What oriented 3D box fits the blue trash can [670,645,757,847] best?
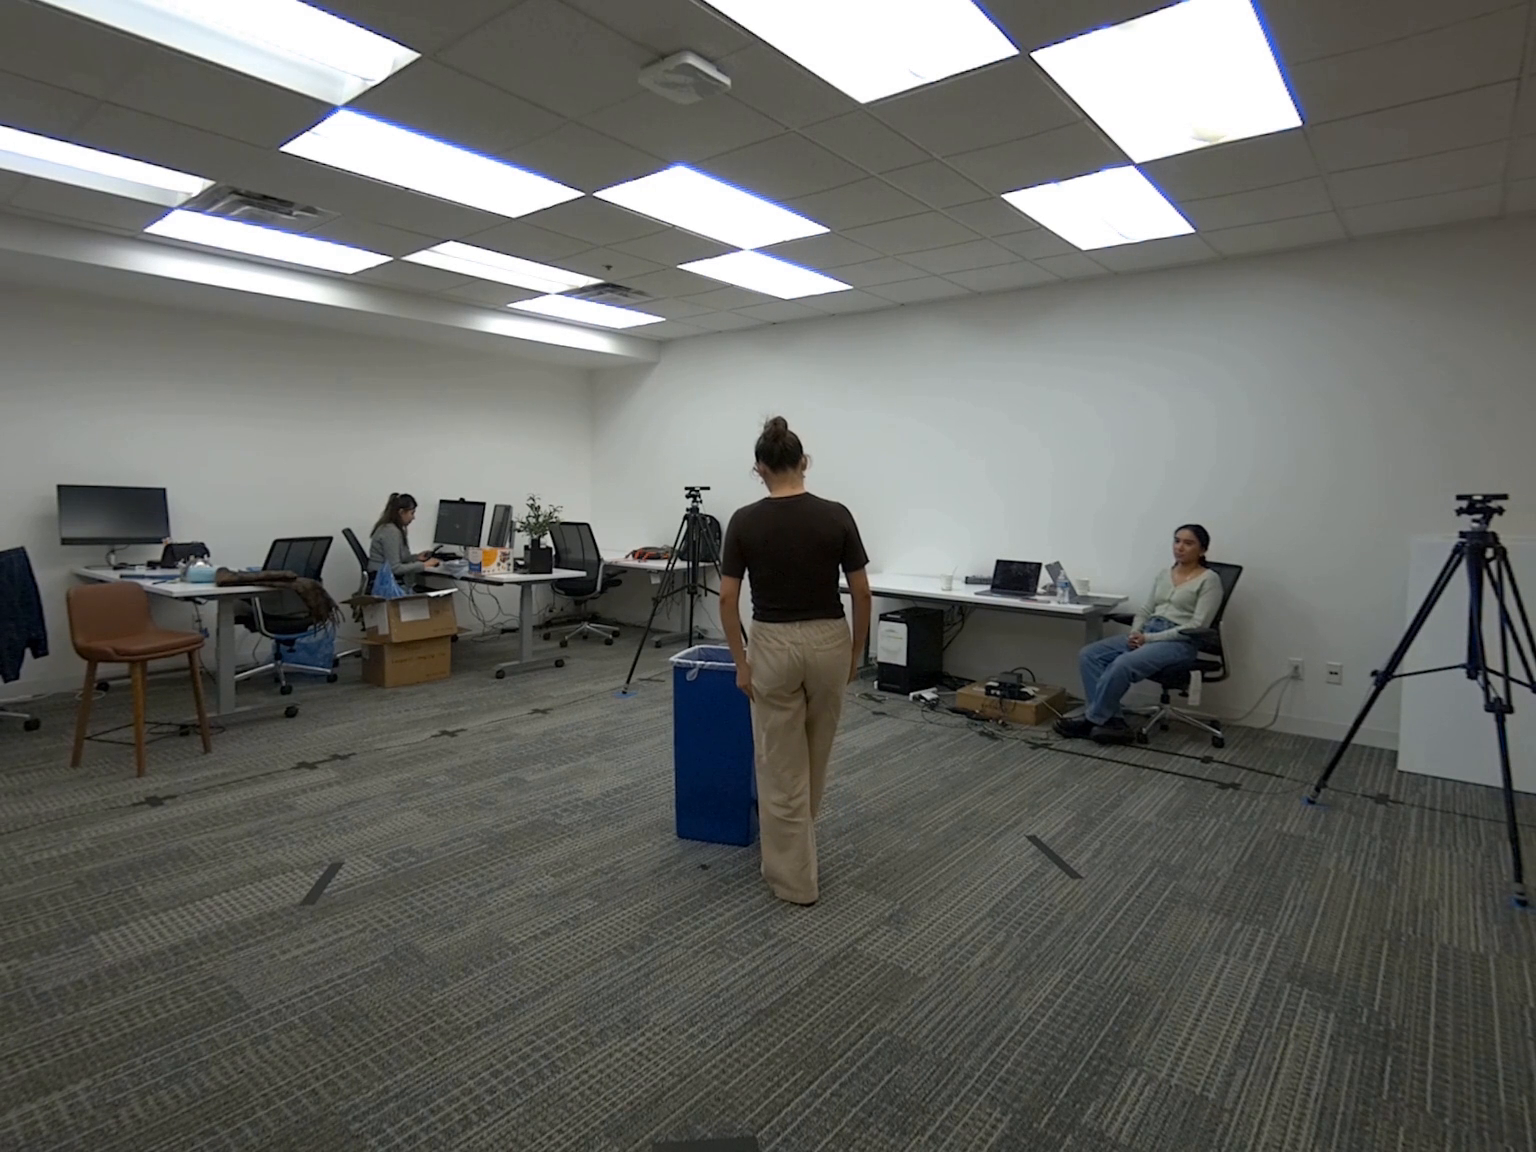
[{"bbox_3d":[-0.186,0.669,3.463,0.380,0.712,0.373,1,3,15],"label":"blue trash can"}]
